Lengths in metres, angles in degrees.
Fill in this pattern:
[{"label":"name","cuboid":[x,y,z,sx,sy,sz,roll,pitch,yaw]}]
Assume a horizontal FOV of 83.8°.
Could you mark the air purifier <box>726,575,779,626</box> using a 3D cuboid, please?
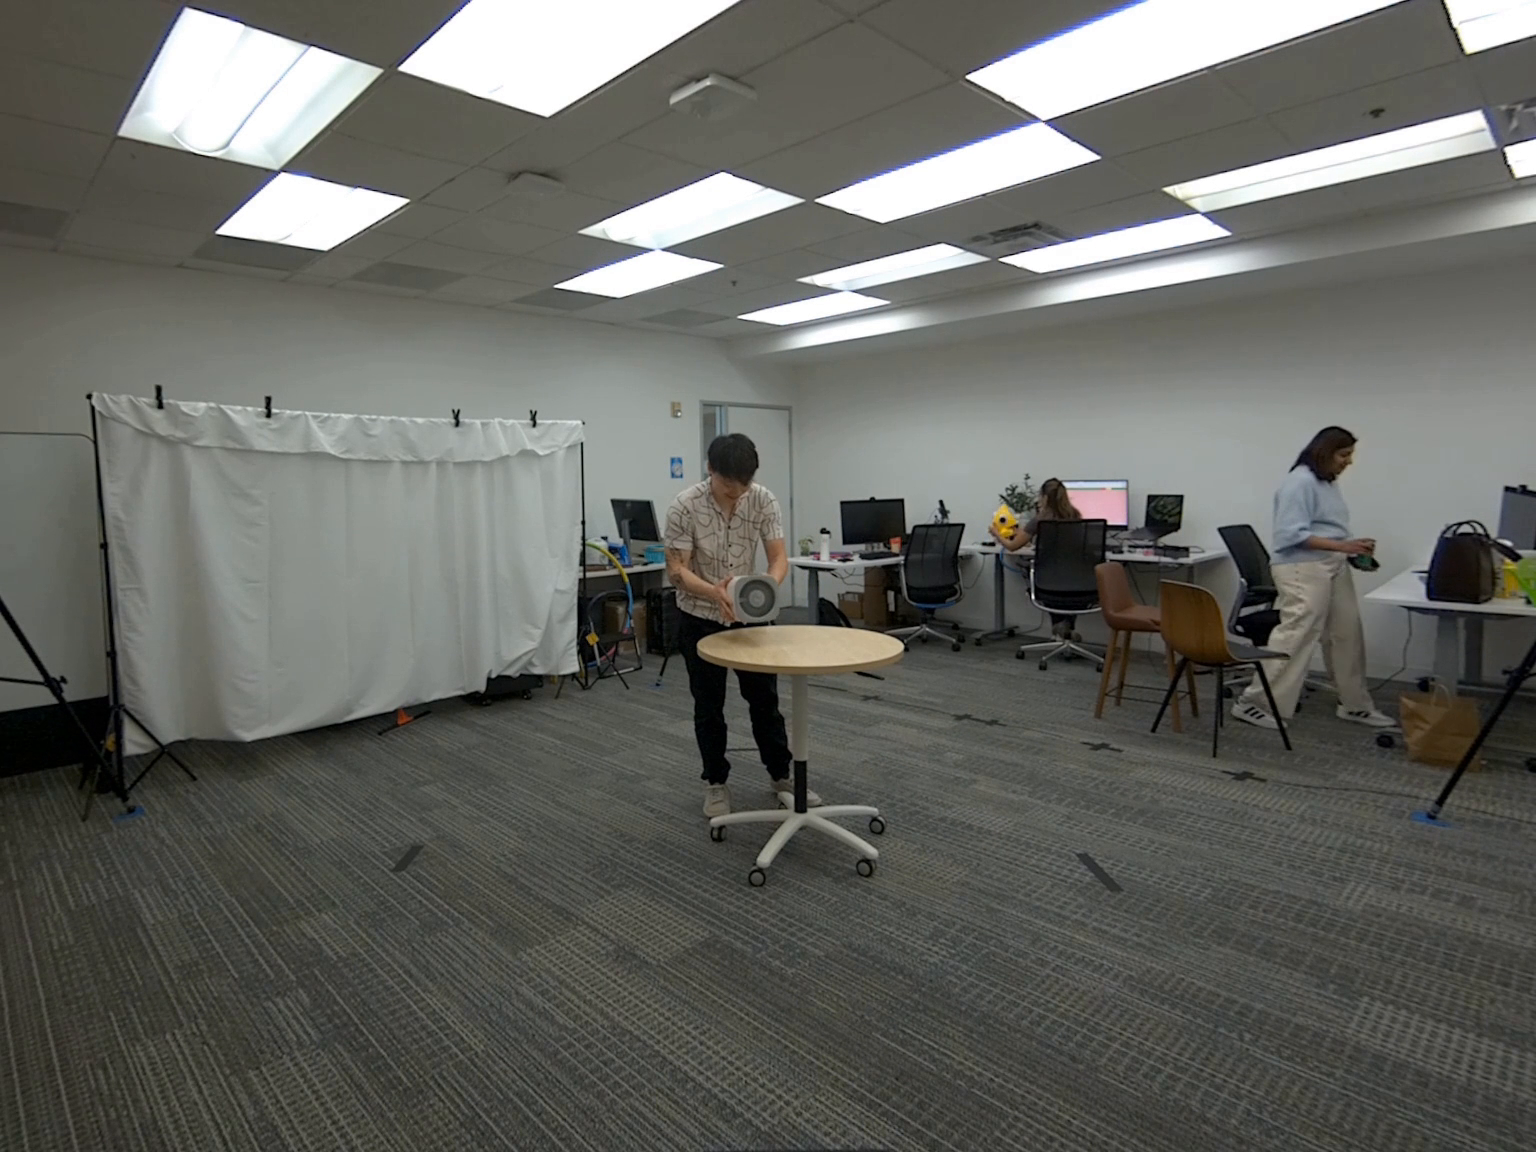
[{"label":"air purifier","cuboid":[-0.064,0.087,3.239,0.170,0.171,0.267,-6,-2,-11]}]
